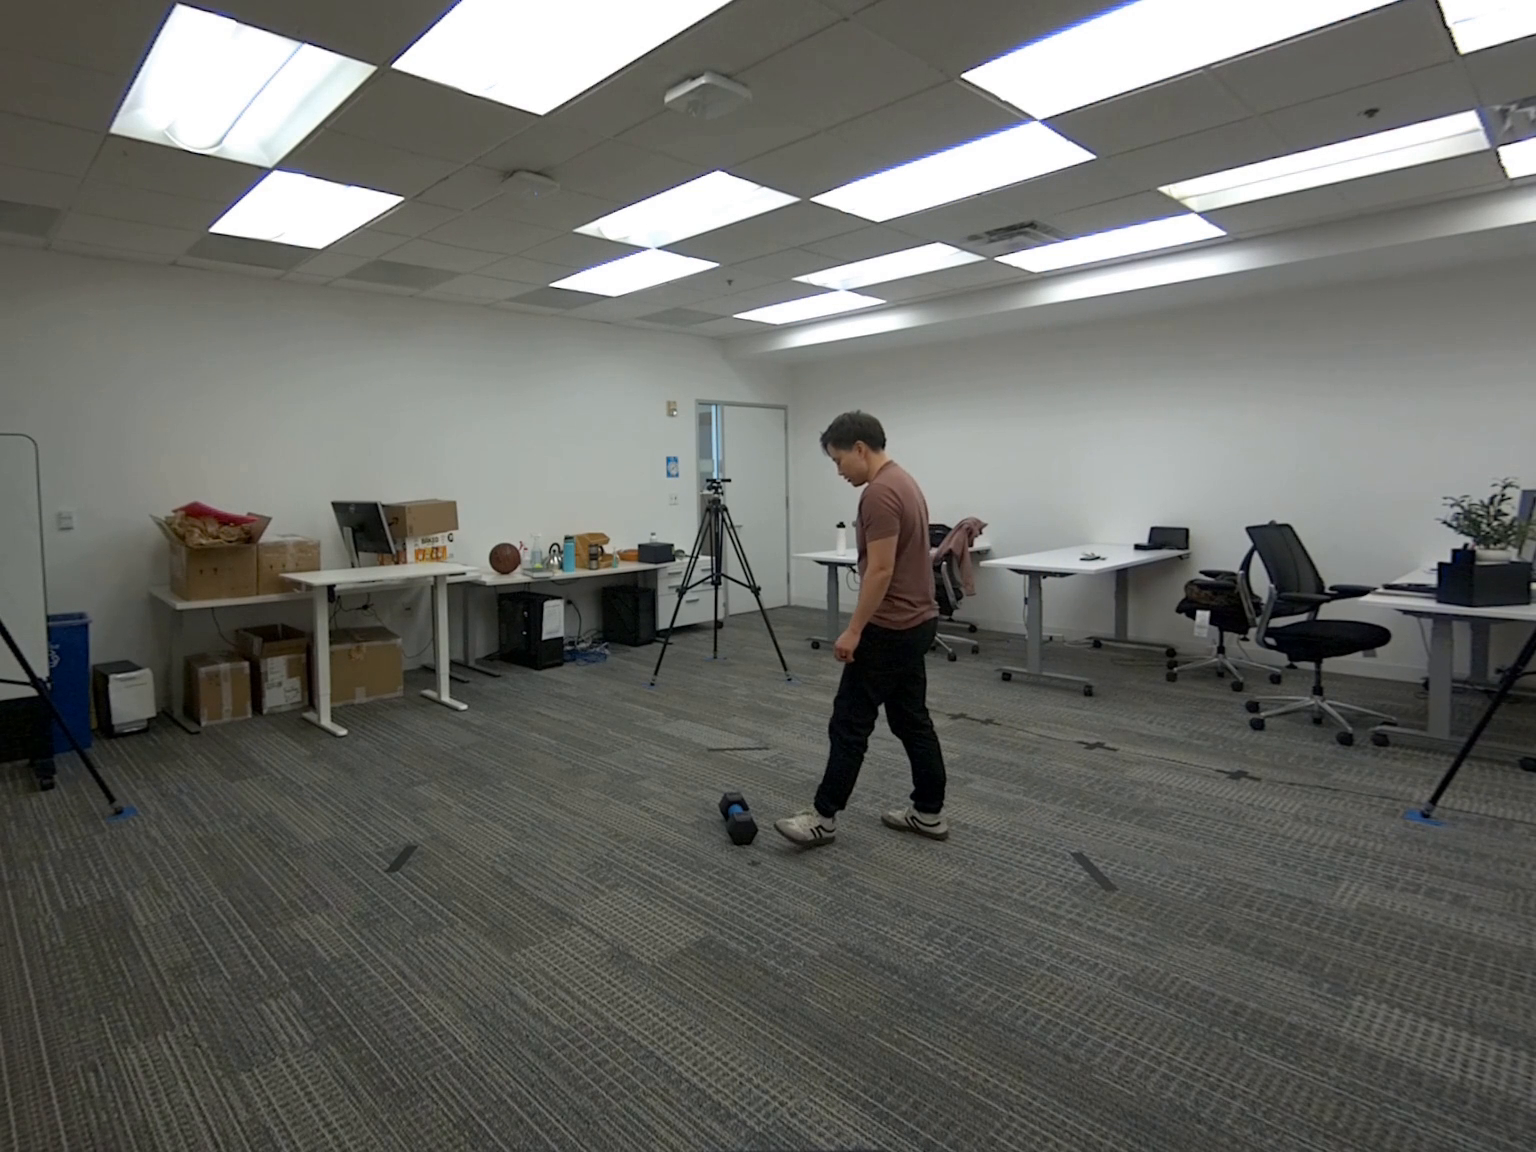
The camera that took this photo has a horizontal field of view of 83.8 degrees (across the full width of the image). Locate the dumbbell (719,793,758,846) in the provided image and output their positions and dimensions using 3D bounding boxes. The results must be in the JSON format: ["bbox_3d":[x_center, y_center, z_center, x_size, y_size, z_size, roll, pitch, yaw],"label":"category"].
[{"bbox_3d":[-0.115,0.961,3.398,0.107,0.123,0.297,30,0,-11],"label":"dumbbell"}]
